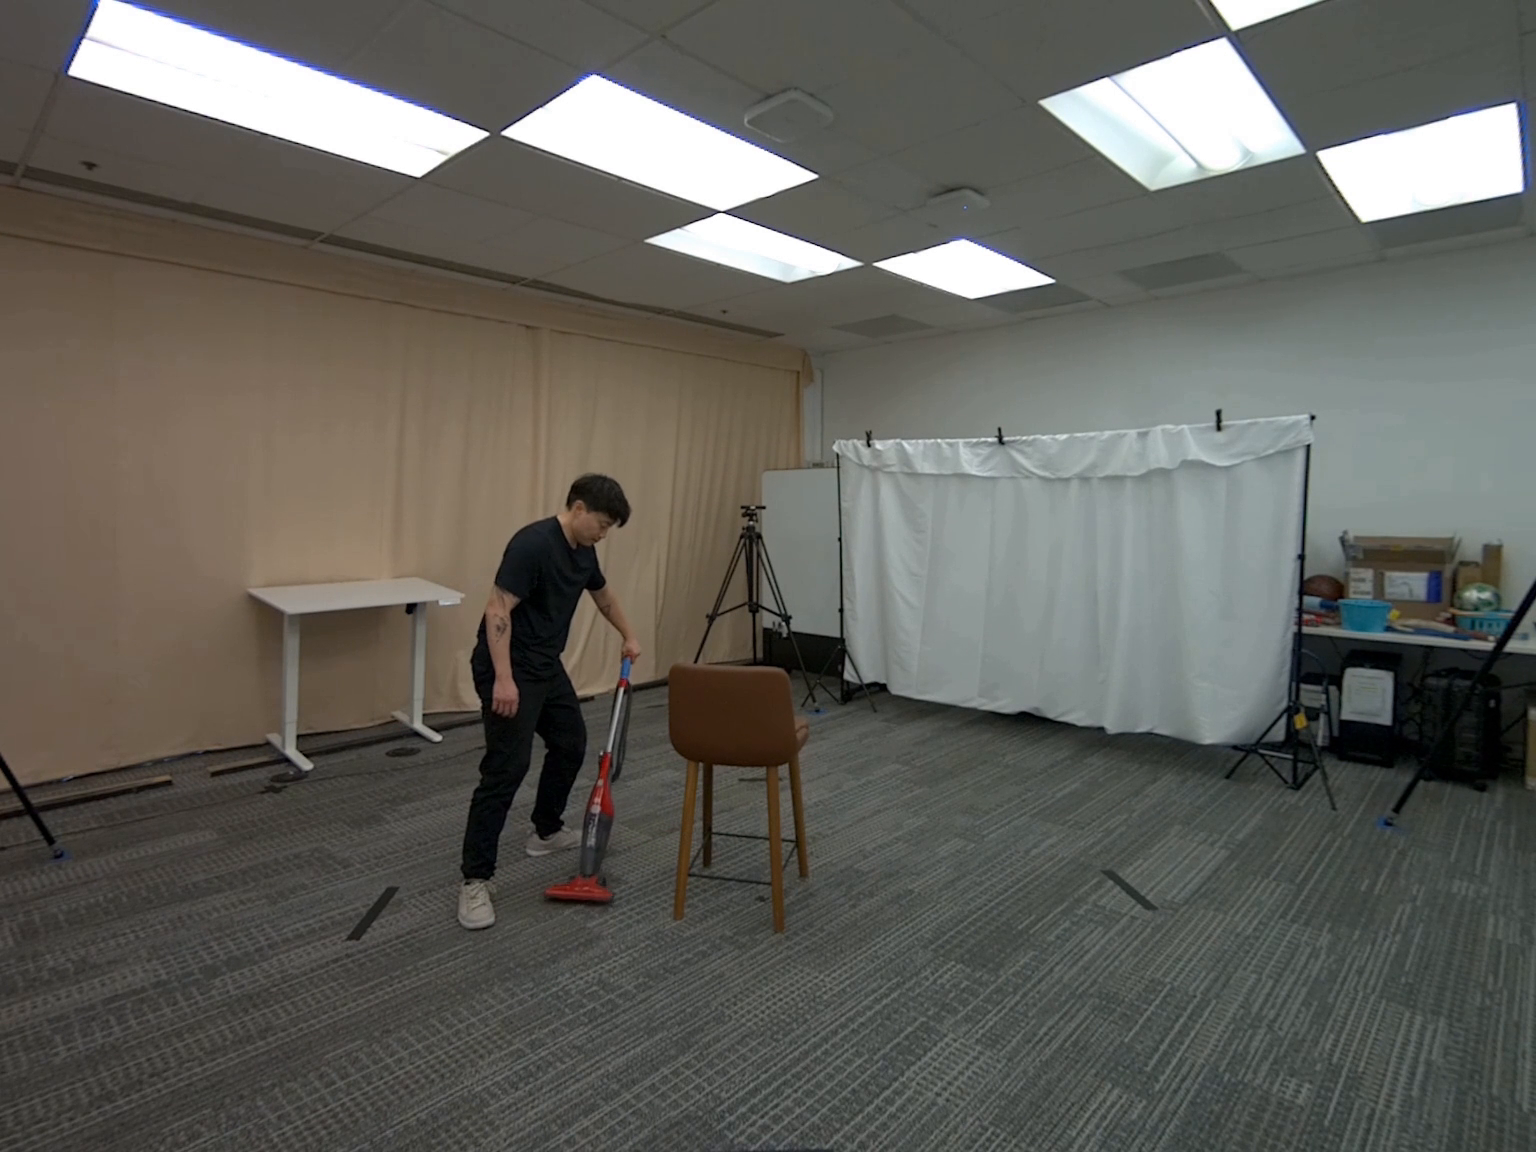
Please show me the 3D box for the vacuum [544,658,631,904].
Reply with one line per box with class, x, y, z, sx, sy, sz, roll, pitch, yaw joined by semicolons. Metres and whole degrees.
vacuum;-0.622;0.724;3.336;0.255;1.064;0.140;-2;-41;10
